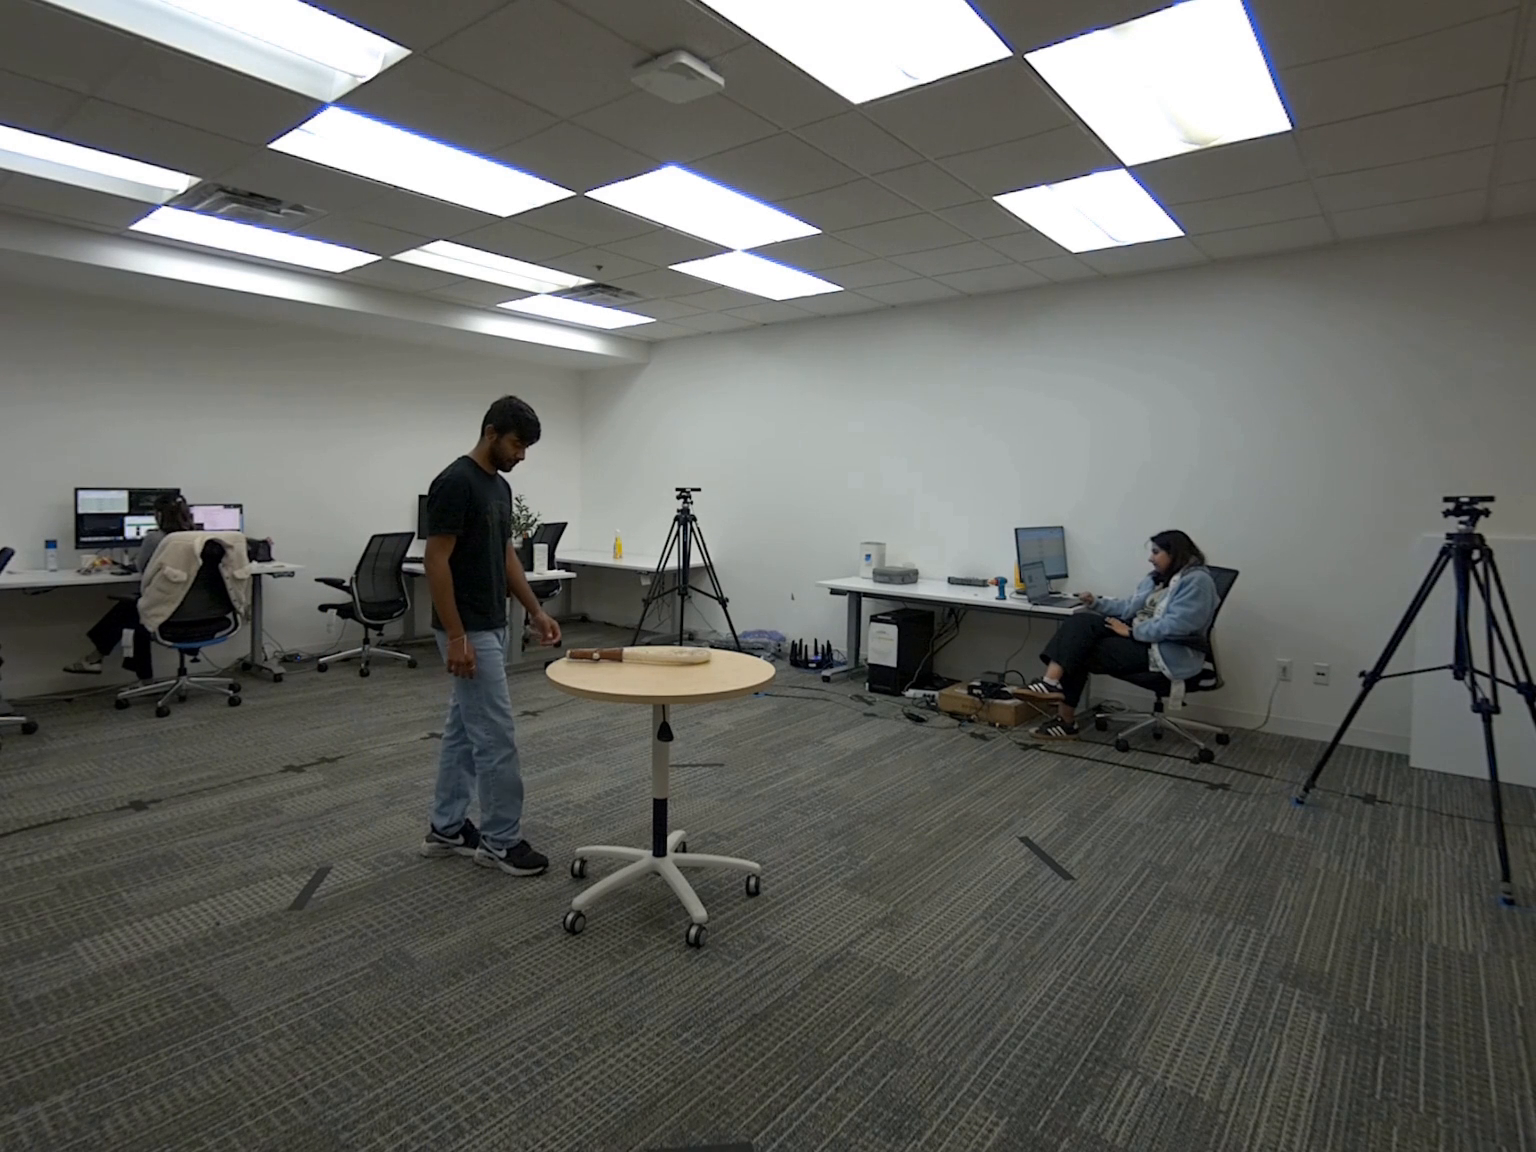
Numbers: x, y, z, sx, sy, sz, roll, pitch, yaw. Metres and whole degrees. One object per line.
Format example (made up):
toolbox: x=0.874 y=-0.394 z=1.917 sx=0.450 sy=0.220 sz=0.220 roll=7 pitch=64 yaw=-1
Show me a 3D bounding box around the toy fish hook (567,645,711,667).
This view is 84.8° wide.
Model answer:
toy fish hook: x=-0.468 y=0.284 z=2.998 sx=0.507 sy=0.048 sz=0.224 roll=1 pitch=-2 yaw=0
